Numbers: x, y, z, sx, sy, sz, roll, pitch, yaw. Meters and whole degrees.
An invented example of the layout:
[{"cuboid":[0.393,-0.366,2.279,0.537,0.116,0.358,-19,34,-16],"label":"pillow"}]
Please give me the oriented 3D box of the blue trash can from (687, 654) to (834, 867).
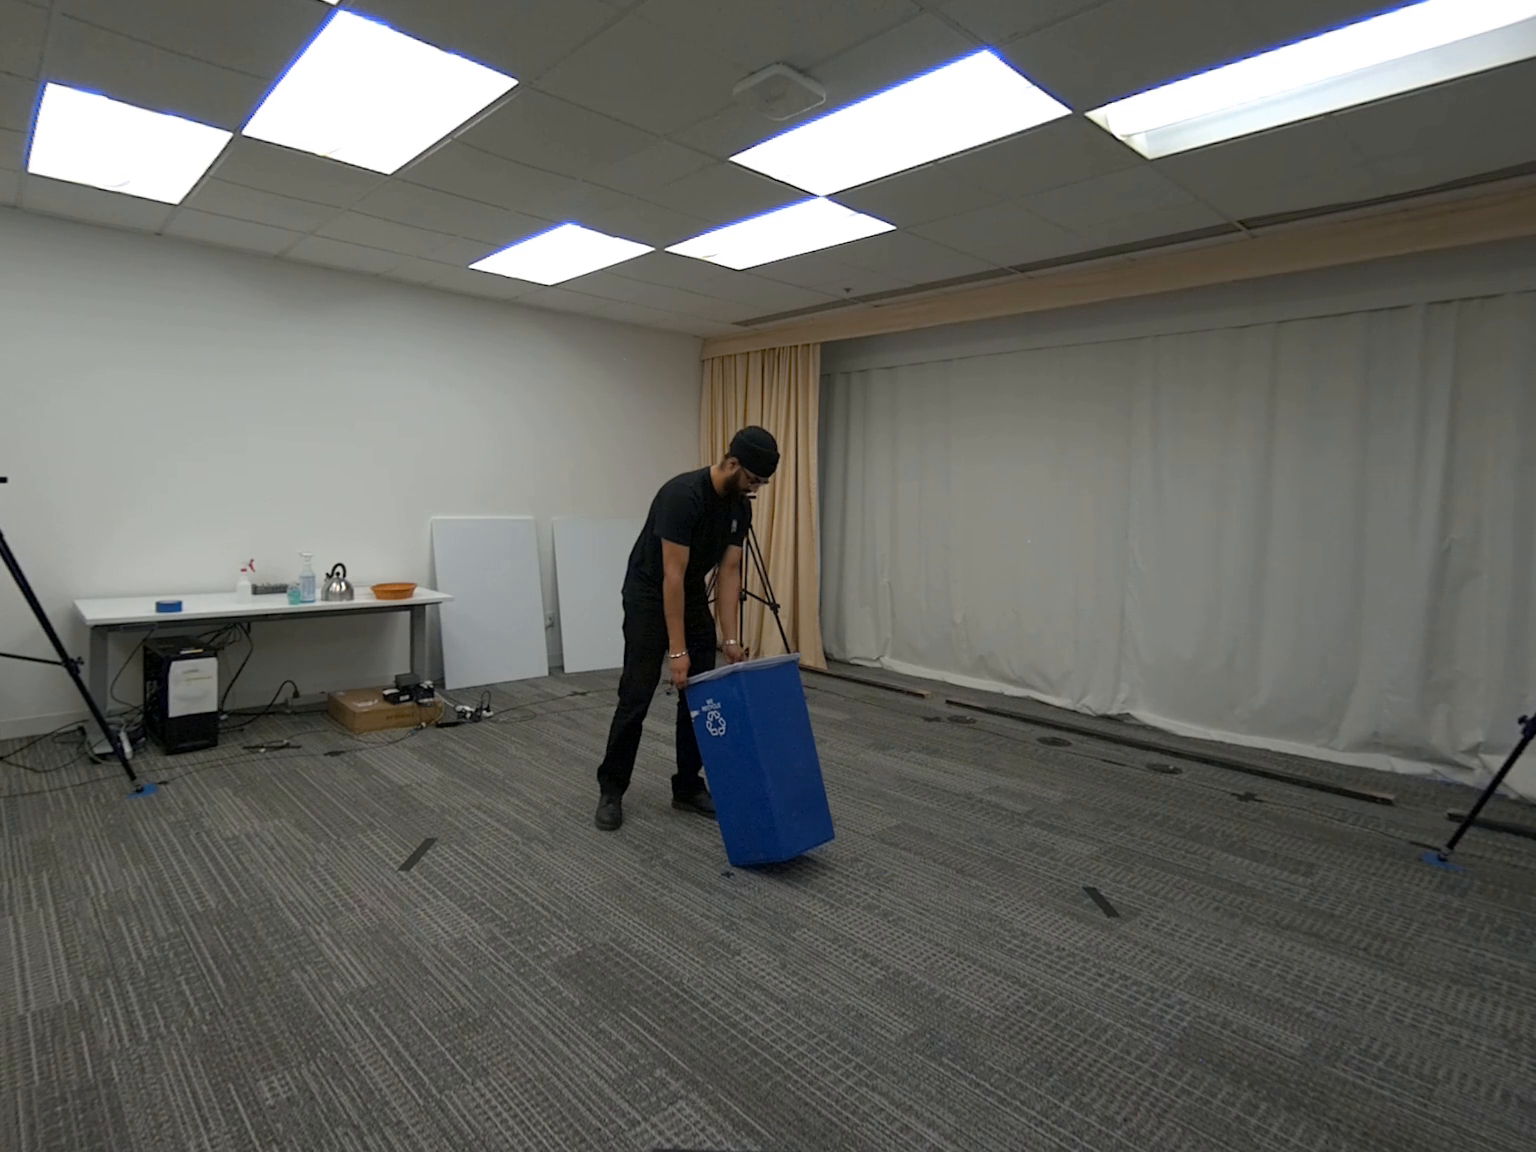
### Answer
[{"cuboid":[-0.045,0.706,3.250,0.379,0.721,0.369,-23,-14,40],"label":"blue trash can"}]
